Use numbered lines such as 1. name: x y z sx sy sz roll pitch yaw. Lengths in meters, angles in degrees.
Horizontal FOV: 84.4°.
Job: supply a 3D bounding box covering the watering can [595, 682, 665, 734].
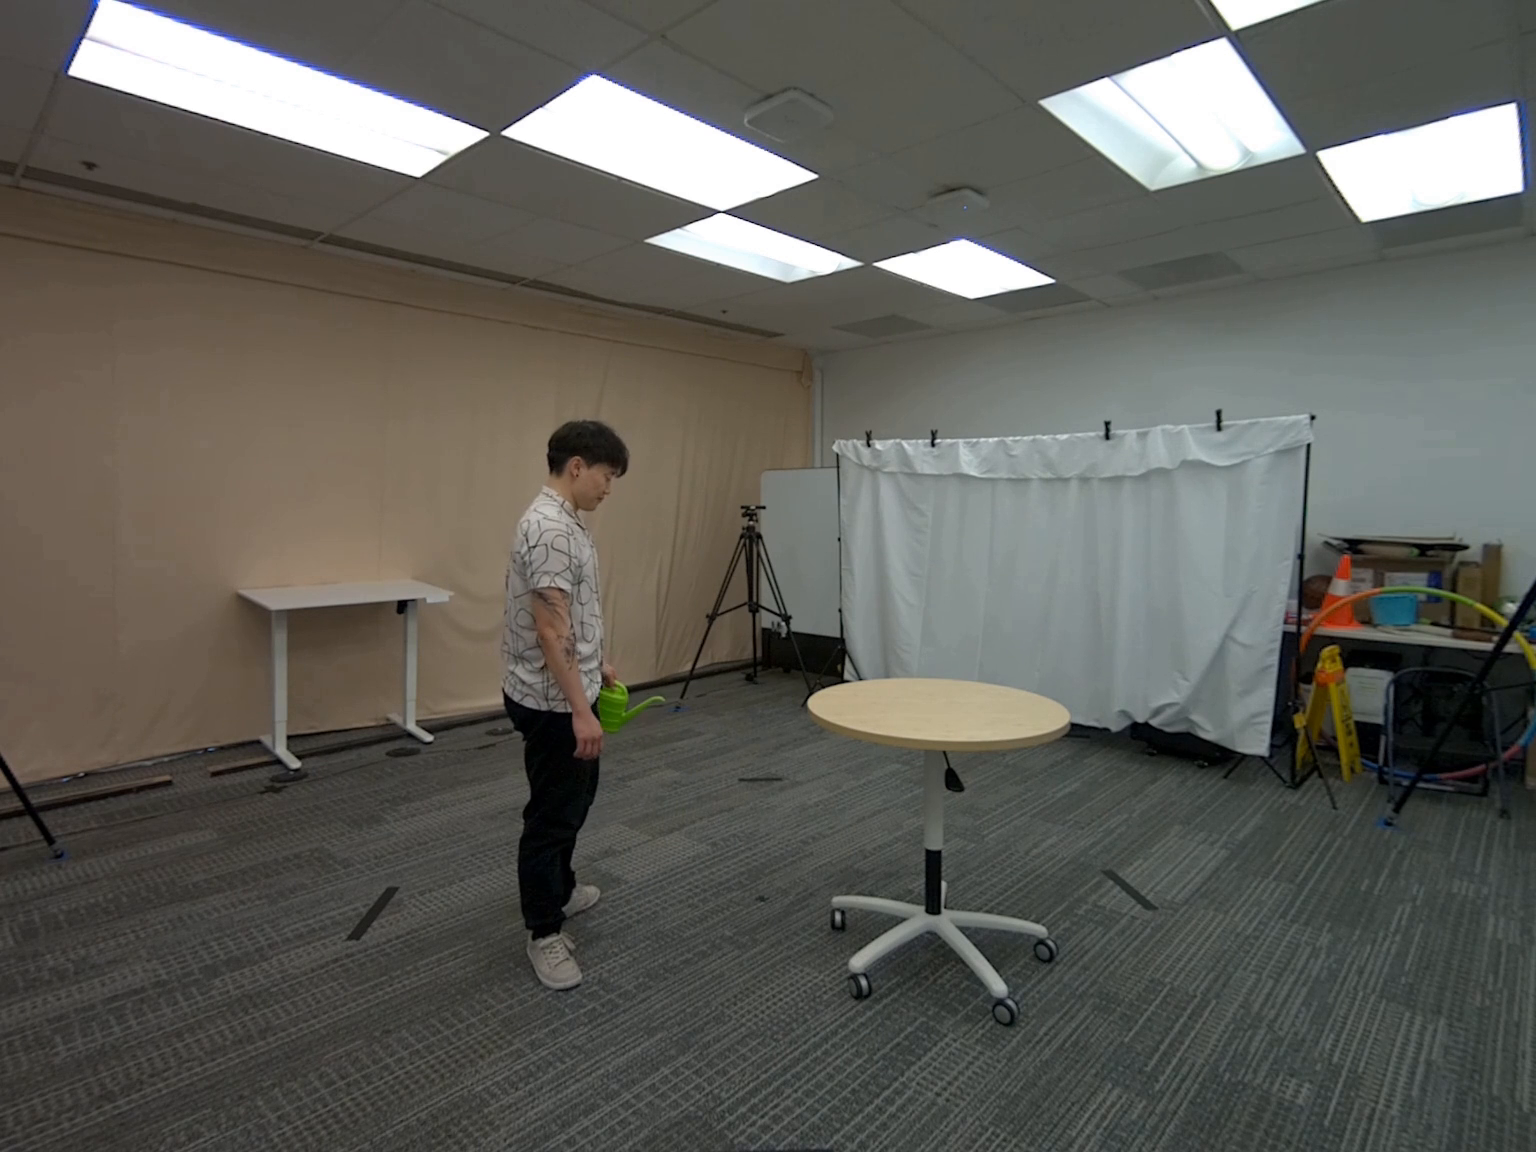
1. watering can: -0.516 0.456 2.910 0.285 0.176 0.096 20 12 20
